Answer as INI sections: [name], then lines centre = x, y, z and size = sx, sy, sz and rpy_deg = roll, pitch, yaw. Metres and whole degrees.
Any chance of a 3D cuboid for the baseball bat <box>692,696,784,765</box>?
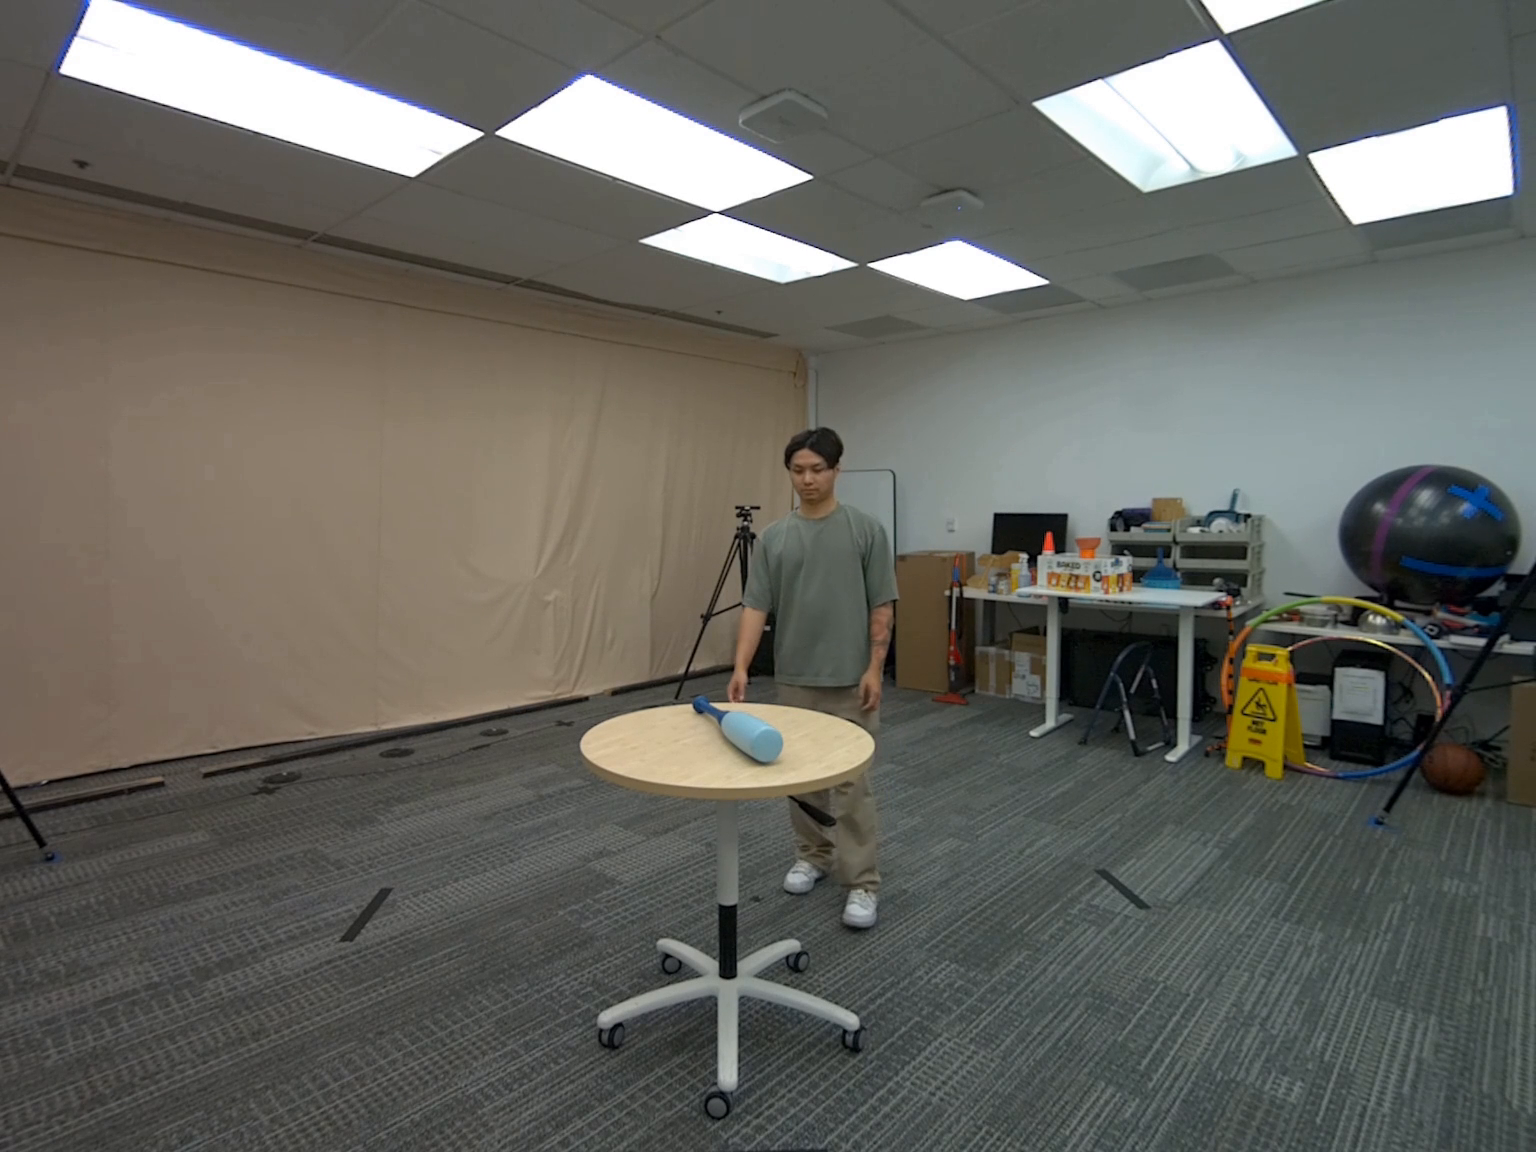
[baseball bat]
centre = -0.099, 0.389, 2.229
size = 0.087, 0.089, 0.554
rpy_deg = -1, 3, -21
